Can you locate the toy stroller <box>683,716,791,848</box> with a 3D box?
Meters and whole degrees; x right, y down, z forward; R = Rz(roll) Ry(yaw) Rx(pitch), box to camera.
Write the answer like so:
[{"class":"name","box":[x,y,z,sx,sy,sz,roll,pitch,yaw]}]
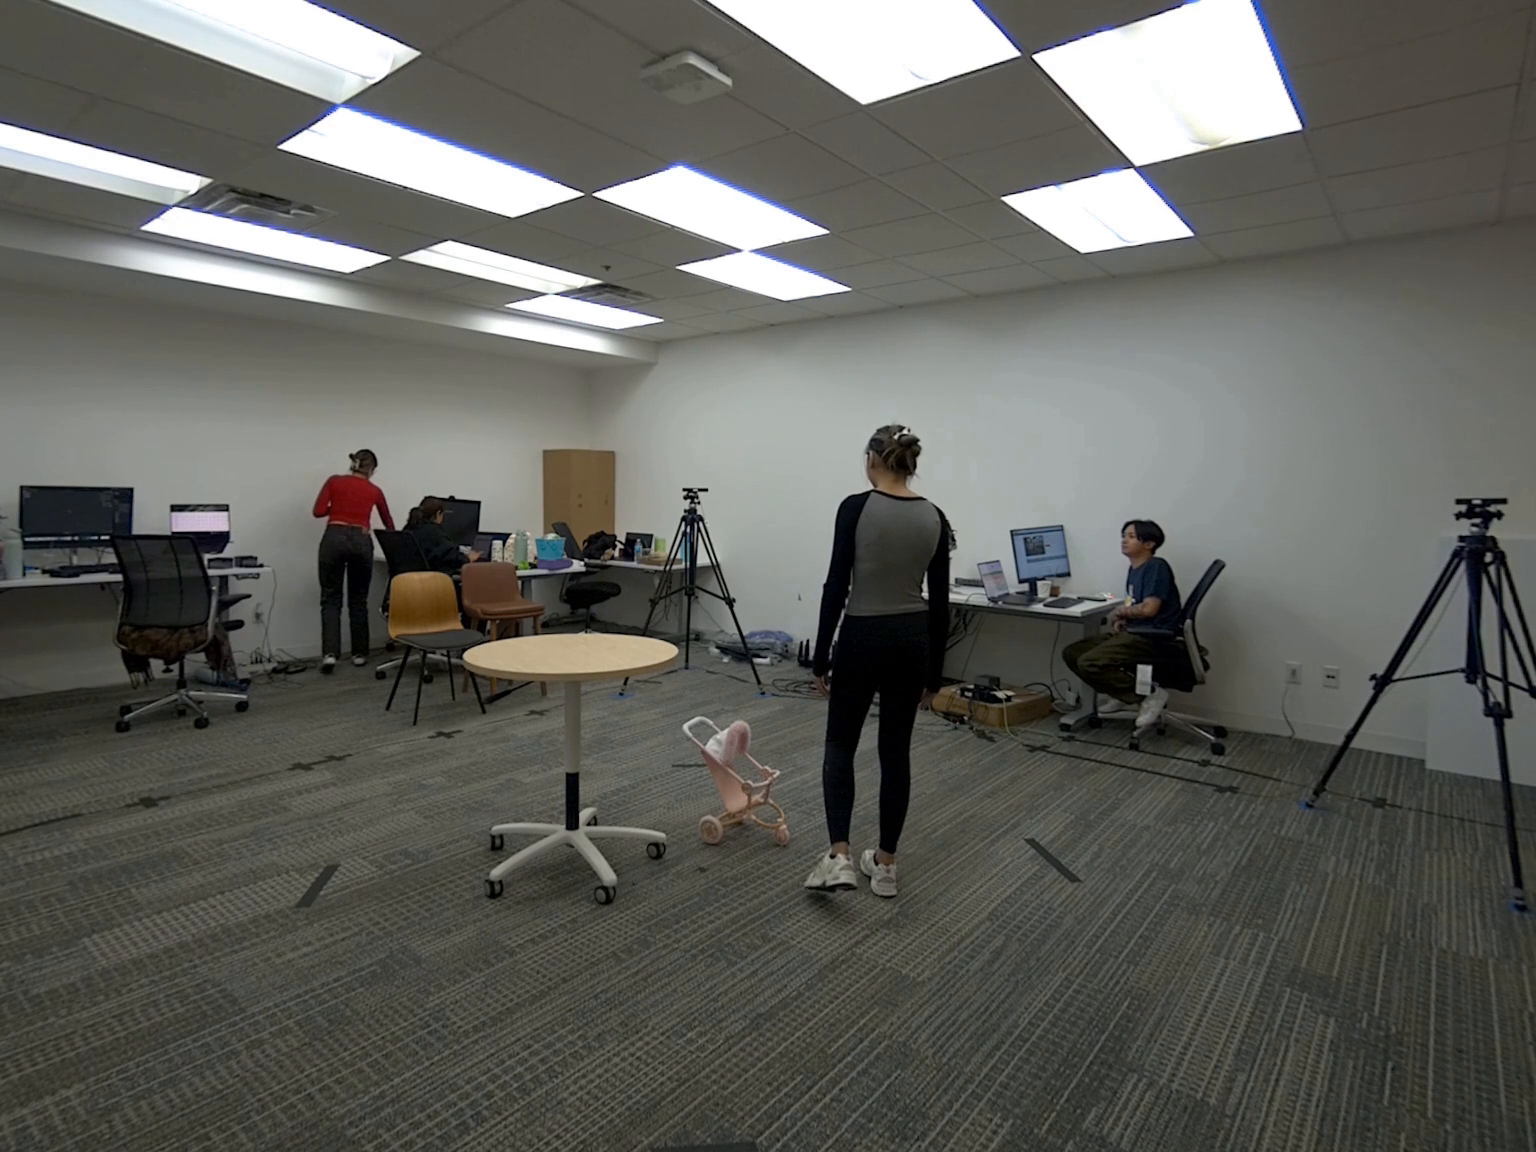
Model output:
[{"class":"toy stroller","box":[-0.122,0.817,3.407,0.348,0.537,0.275,-15,-4,29]}]
